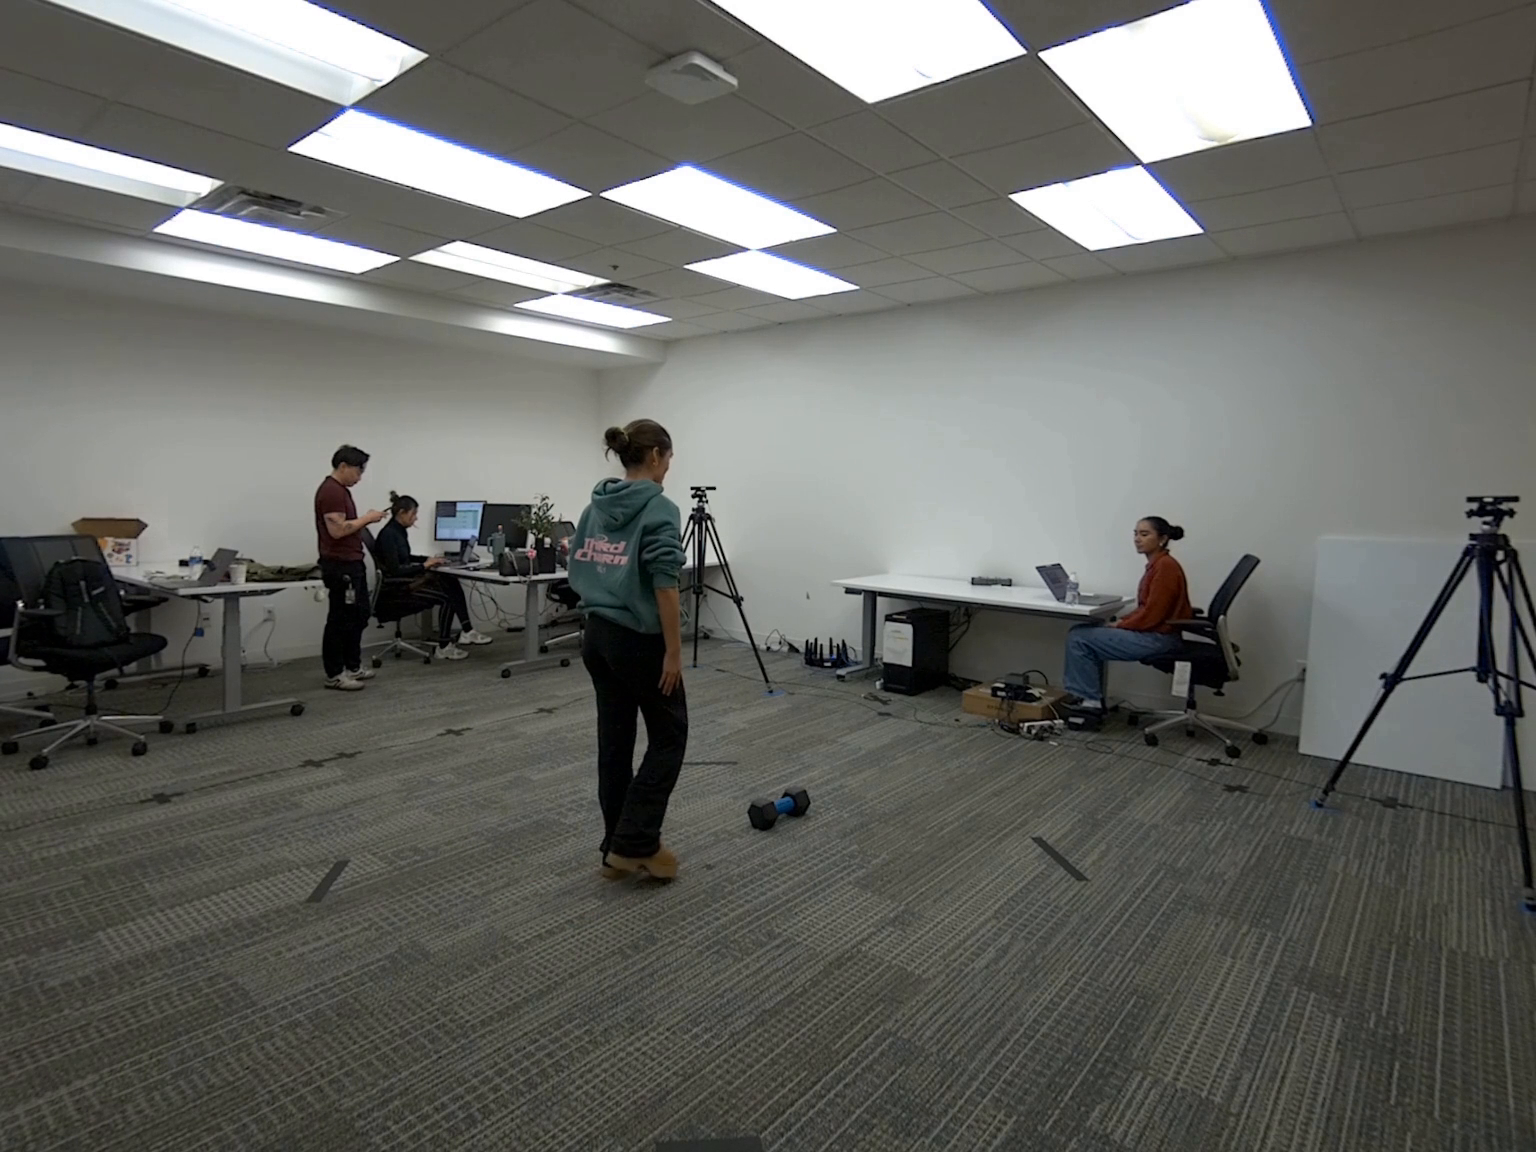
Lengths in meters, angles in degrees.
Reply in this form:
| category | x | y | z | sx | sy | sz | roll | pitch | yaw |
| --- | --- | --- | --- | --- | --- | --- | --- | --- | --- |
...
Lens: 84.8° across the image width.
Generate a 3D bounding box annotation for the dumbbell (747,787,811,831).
| category | x | y | z | sx | sy | sz | roll | pitch | yaw |
| --- | --- | --- | --- | --- | --- | --- | --- | --- | --- |
| dumbbell | 0.041 | 0.969 | 3.576 | 0.285 | 0.125 | 0.110 | -5 | -22 | -46 |
